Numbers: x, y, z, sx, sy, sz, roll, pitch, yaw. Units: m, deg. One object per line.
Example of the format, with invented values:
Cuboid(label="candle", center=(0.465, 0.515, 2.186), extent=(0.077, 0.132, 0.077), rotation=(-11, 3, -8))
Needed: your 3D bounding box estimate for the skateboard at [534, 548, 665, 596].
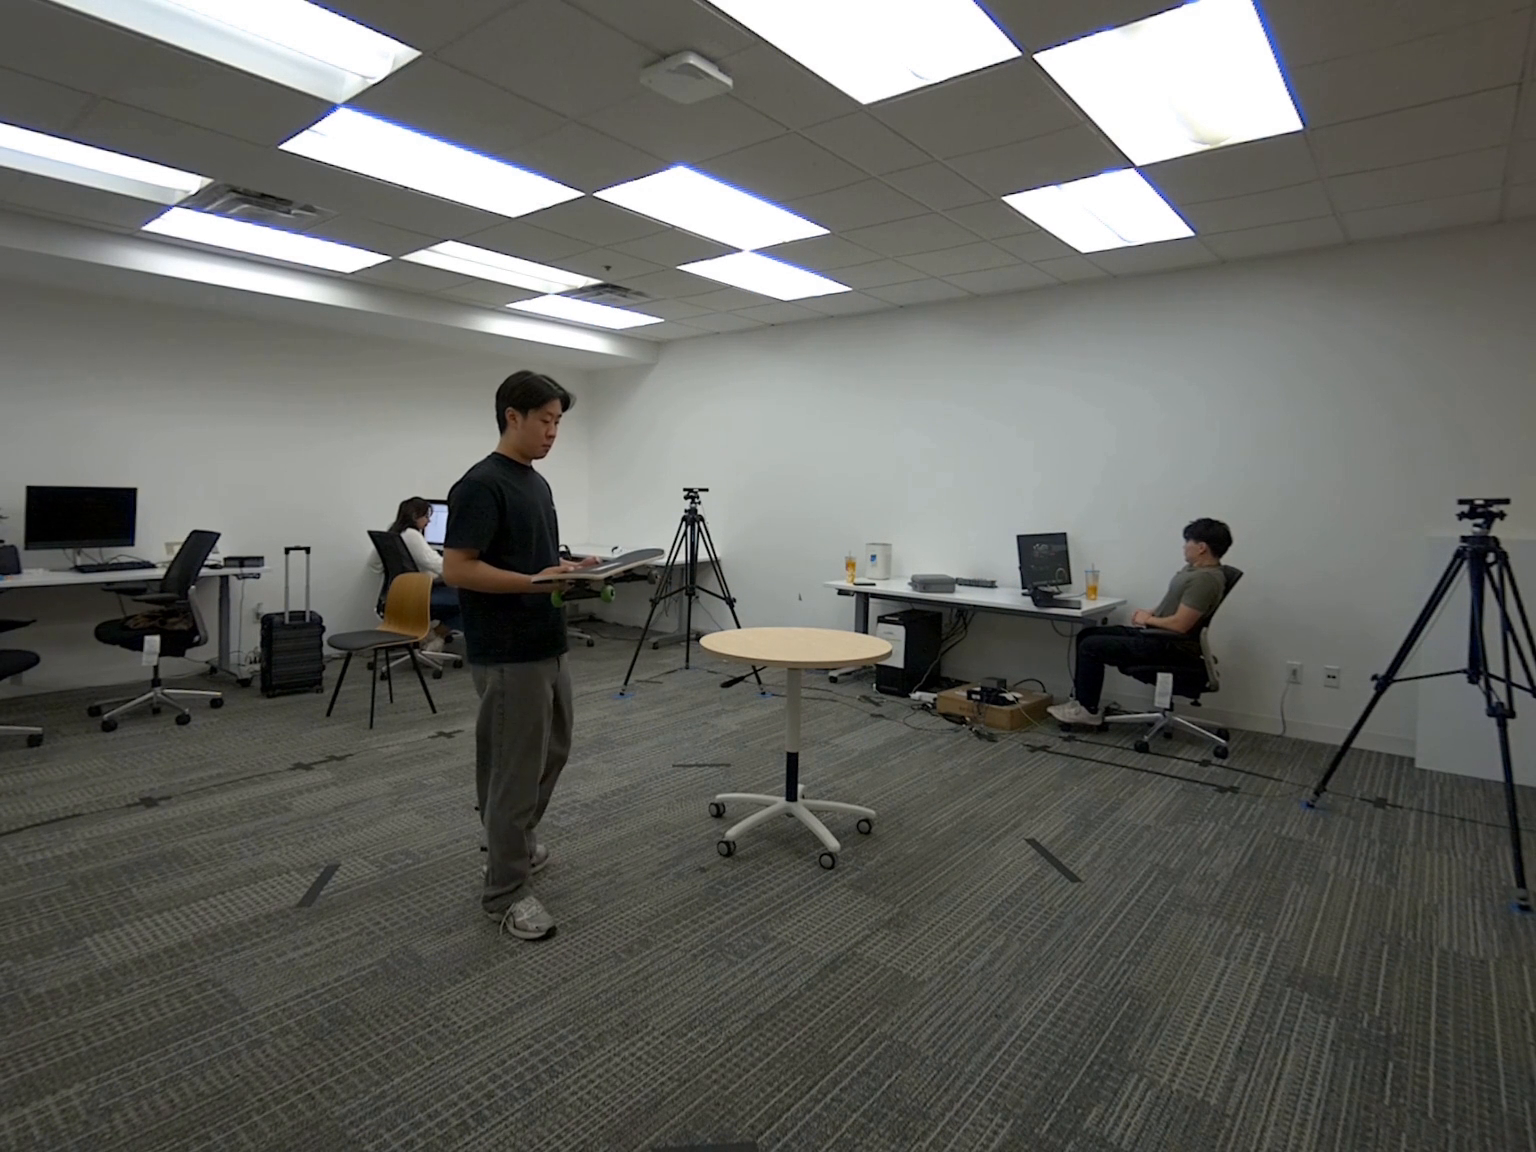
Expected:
Cuboid(label="skateboard", center=(-0.511, 0.007, 2.628), extent=(0.196, 0.110, 0.777), rotation=(-3, 6, 14))
